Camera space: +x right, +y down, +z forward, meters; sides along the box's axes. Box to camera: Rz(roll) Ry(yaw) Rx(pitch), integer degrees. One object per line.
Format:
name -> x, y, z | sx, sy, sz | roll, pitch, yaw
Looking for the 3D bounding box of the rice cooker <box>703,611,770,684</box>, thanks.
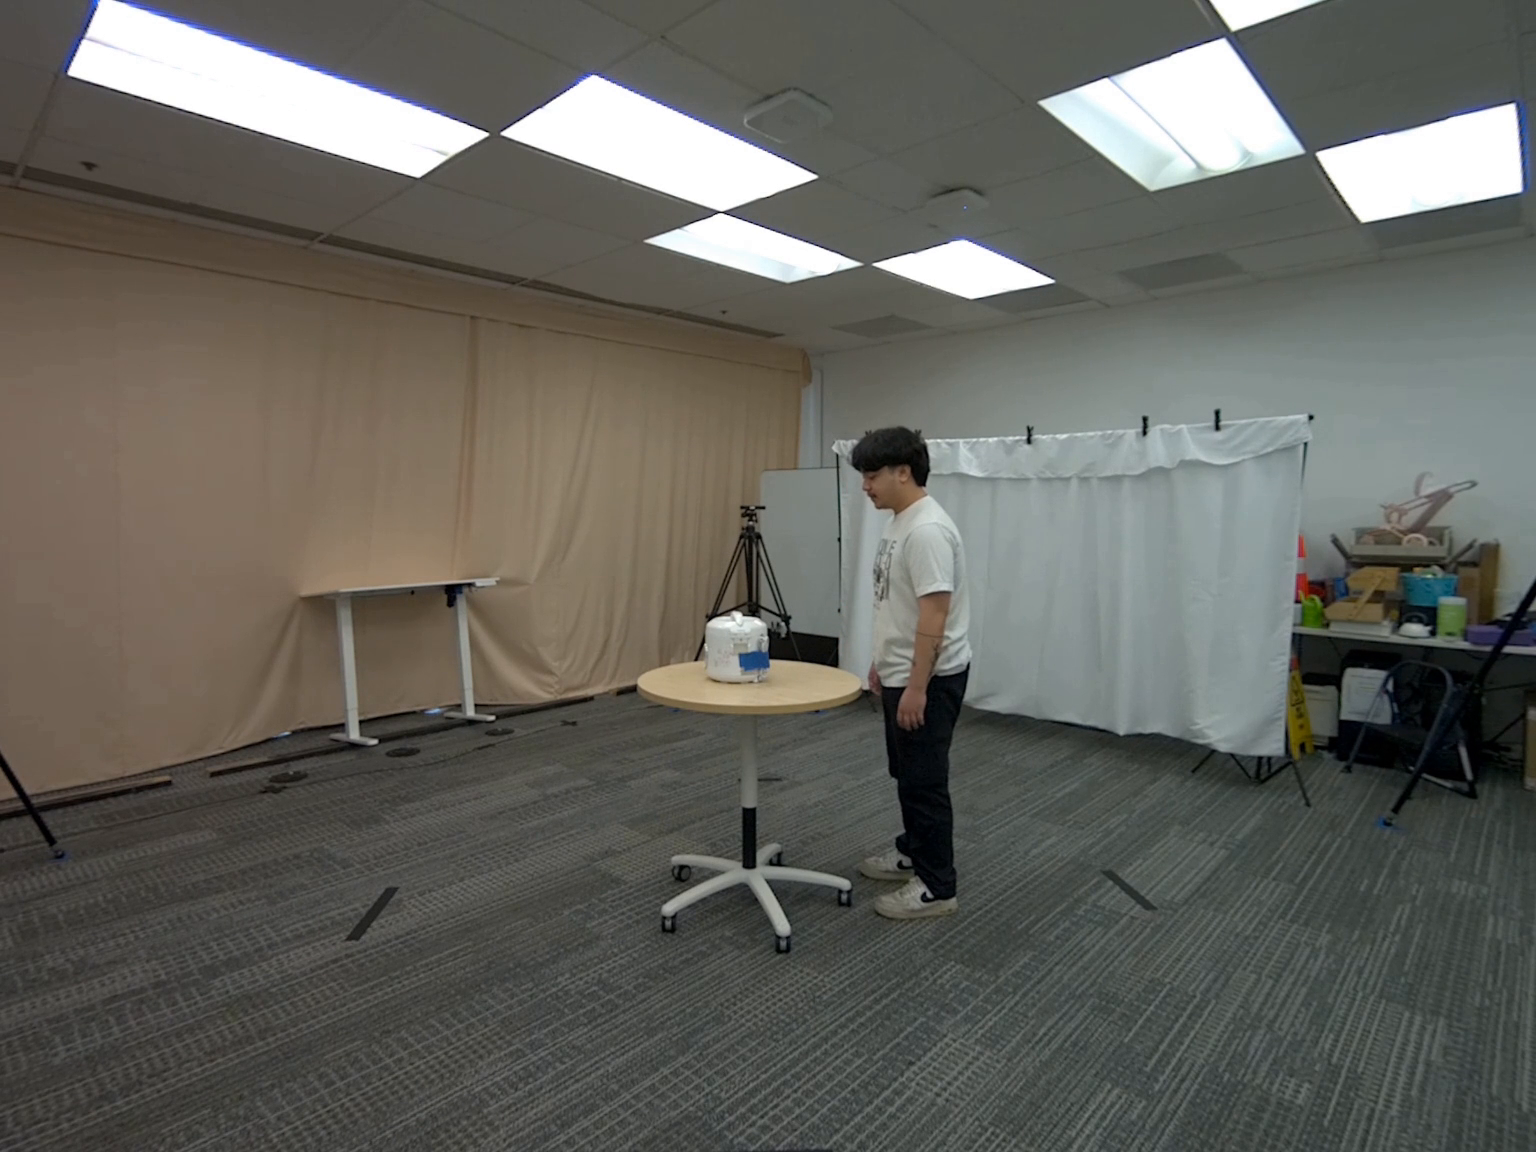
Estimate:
rice cooker -> -0.105, 0.238, 2.896 | 0.216, 0.232, 0.222 | -1, 3, -7
